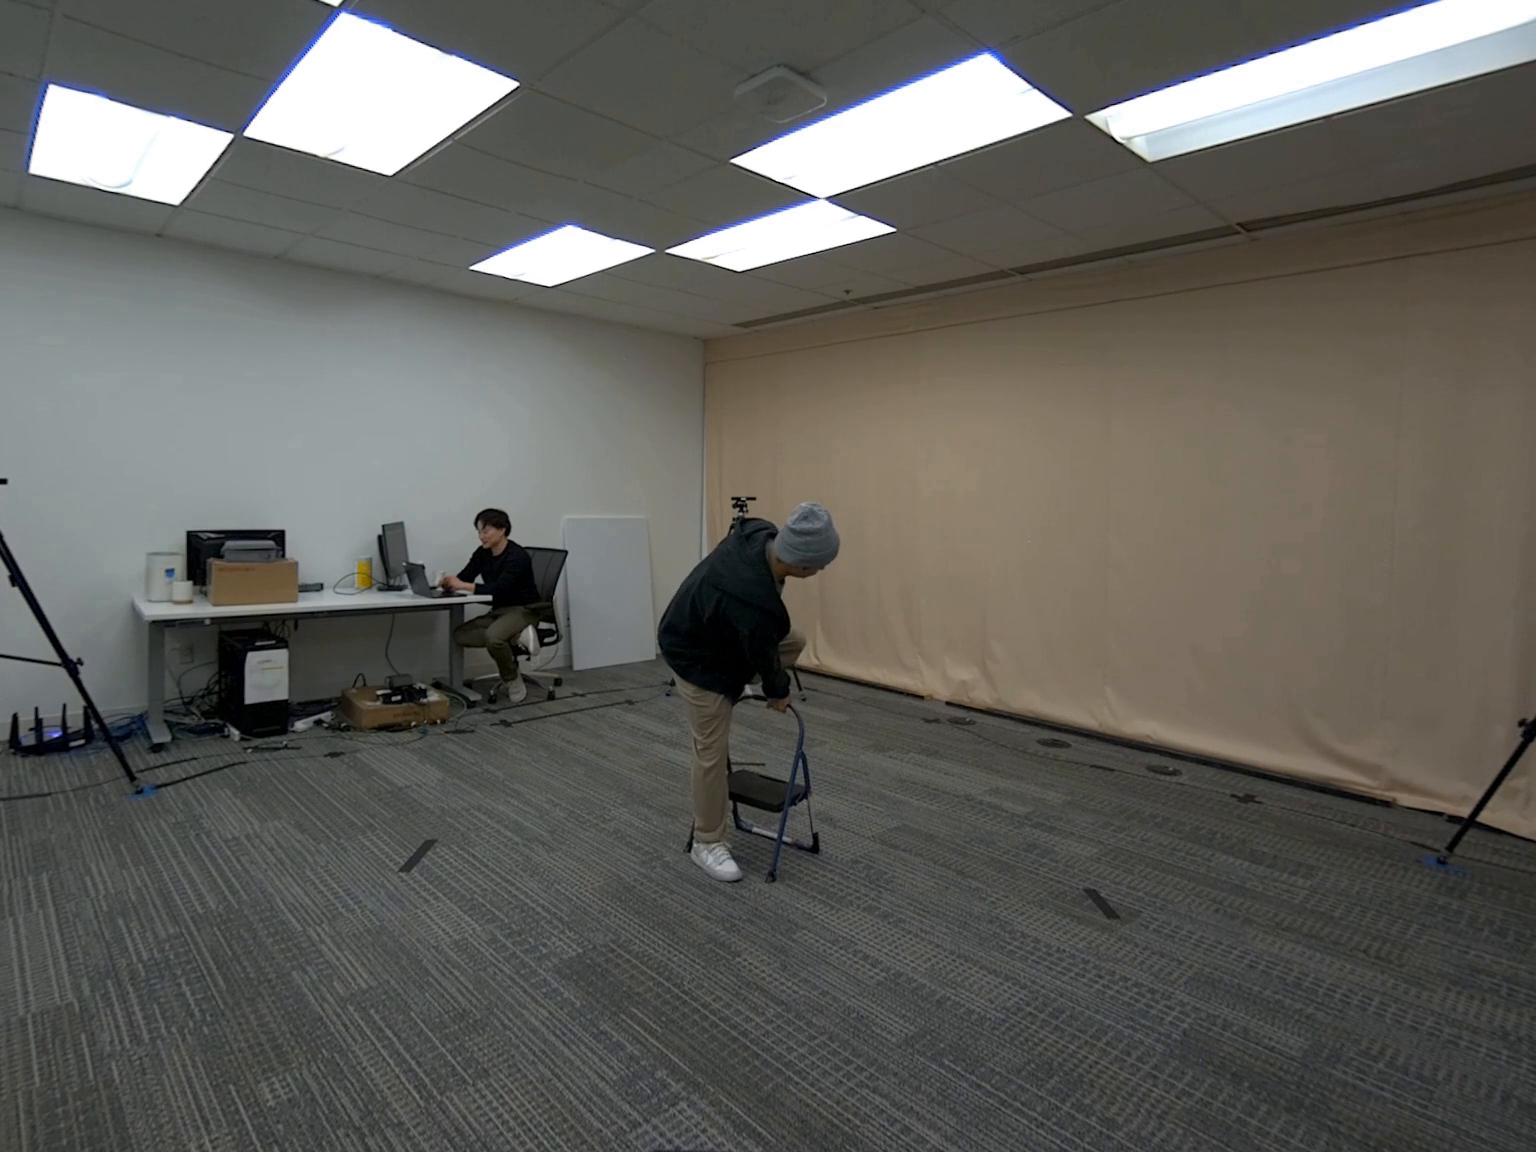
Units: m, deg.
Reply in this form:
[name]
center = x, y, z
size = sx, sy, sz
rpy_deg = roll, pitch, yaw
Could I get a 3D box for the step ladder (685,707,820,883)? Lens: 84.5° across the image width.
[step ladder]
center = -0.056, 0.791, 3.307
size = 0.441, 0.604, 0.342
rpy_deg = 5, 5, 36
